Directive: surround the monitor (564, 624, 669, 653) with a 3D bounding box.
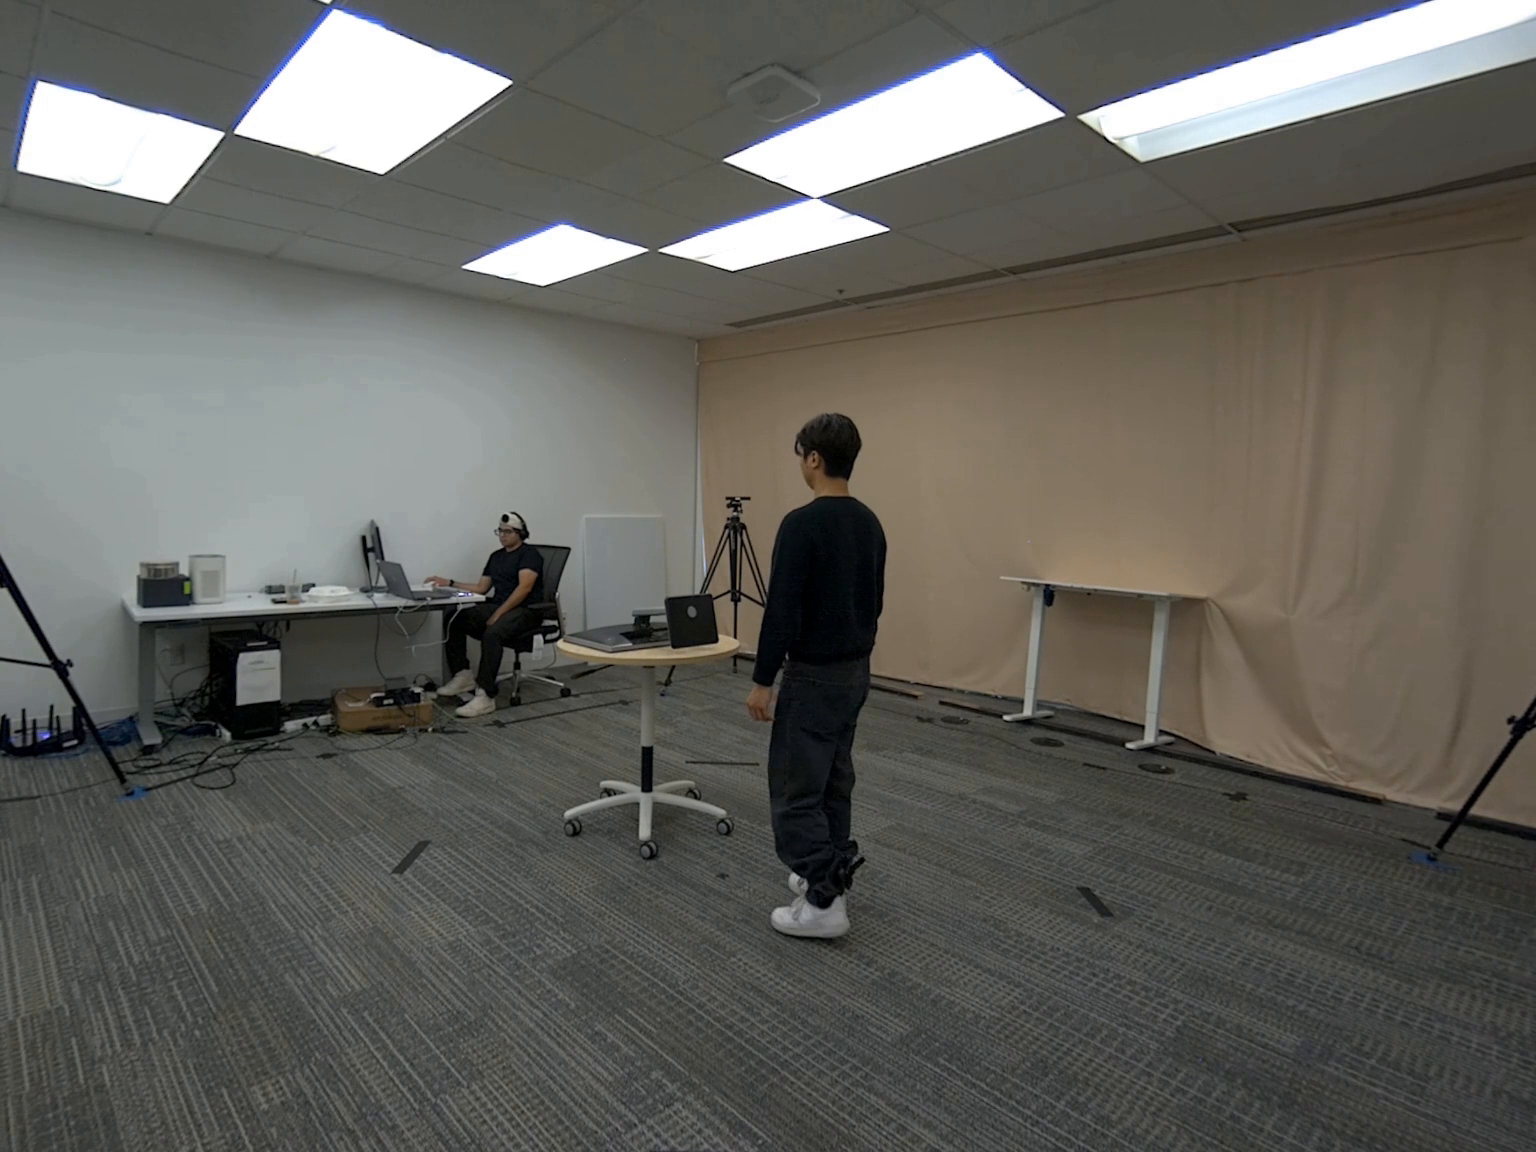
[{"bbox_3d":[-0.504,0.211,3.540,0.526,0.188,0.531,0,-10,-42],"label":"monitor"}]
